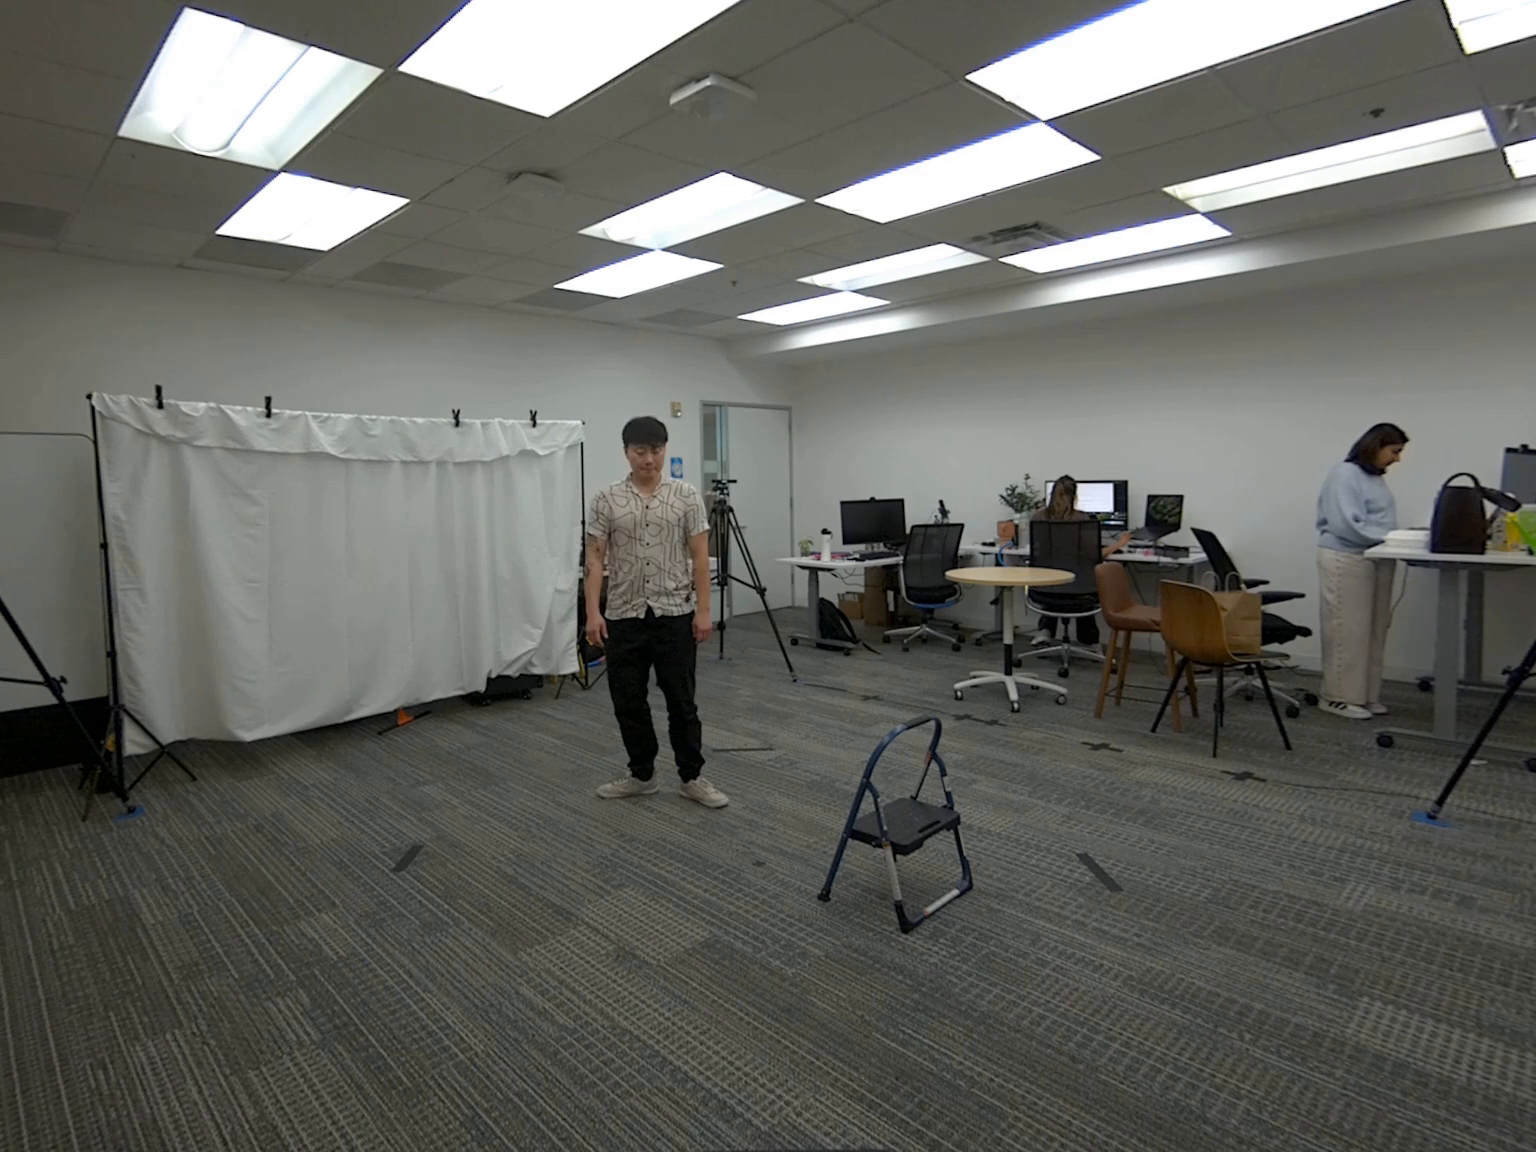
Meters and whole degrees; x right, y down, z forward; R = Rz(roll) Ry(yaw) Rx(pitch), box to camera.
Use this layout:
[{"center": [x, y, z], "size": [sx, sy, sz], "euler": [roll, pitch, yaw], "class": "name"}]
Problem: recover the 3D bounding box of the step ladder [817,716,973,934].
[{"center": [0.431, 0.765, 2.853], "size": [0.360, 0.604, 0.419], "euler": [3, 6, 42], "class": "step ladder"}]
